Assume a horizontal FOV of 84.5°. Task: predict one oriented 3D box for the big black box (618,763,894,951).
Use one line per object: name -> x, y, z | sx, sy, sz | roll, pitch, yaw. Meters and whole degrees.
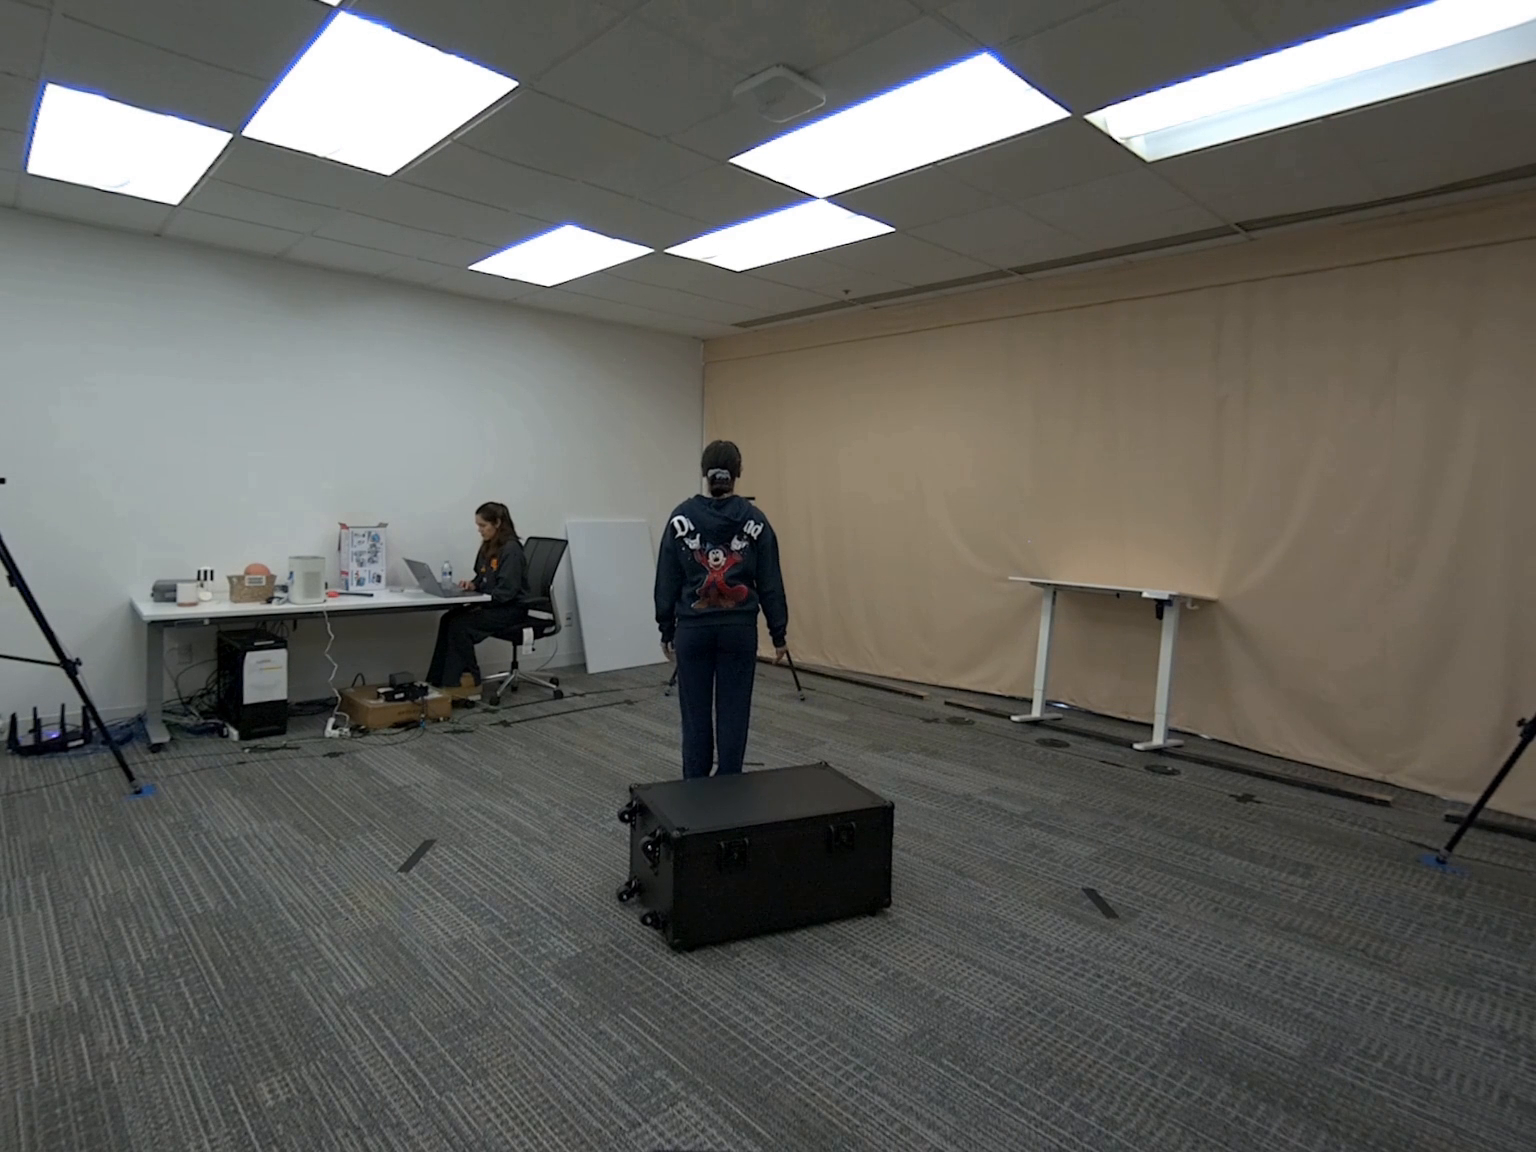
big black box -> -0.058, 0.950, 2.873 | 0.845, 0.520, 0.404 | -1, 3, -27
